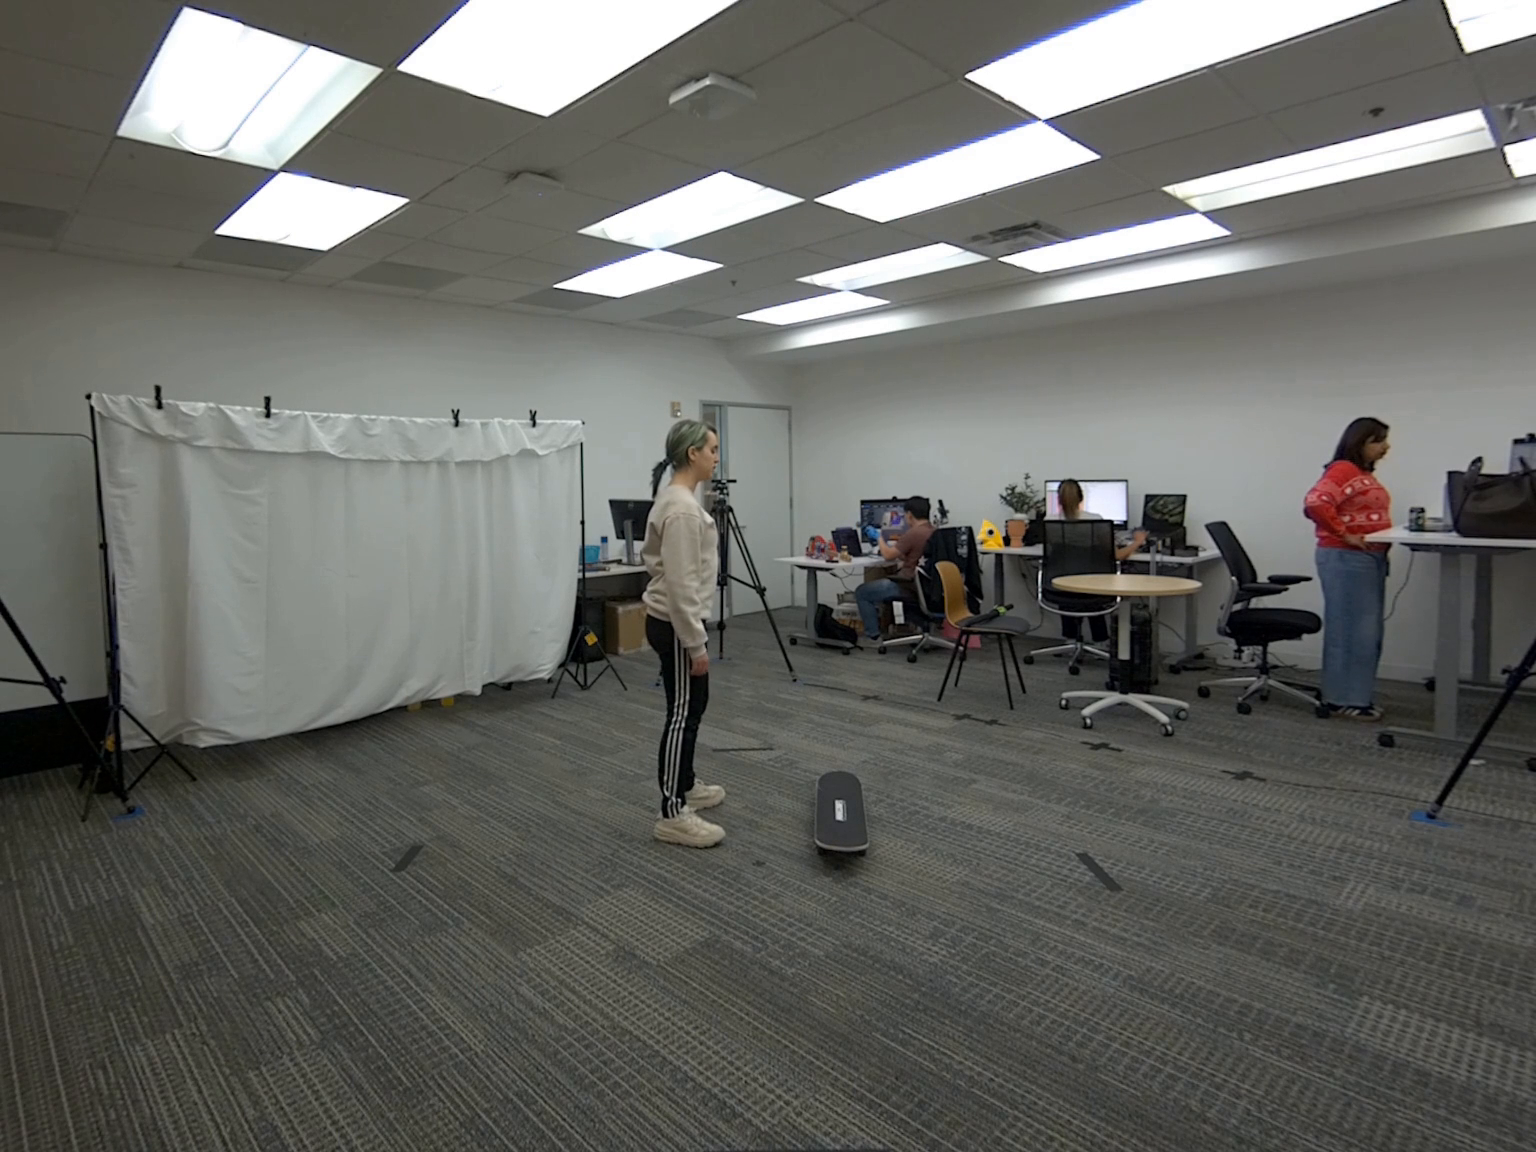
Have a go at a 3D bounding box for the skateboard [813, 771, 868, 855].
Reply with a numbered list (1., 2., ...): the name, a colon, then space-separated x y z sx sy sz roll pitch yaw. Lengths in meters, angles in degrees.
1. skateboard: 0.292 0.955 3.372 0.194 0.110 0.784 0 6 4
